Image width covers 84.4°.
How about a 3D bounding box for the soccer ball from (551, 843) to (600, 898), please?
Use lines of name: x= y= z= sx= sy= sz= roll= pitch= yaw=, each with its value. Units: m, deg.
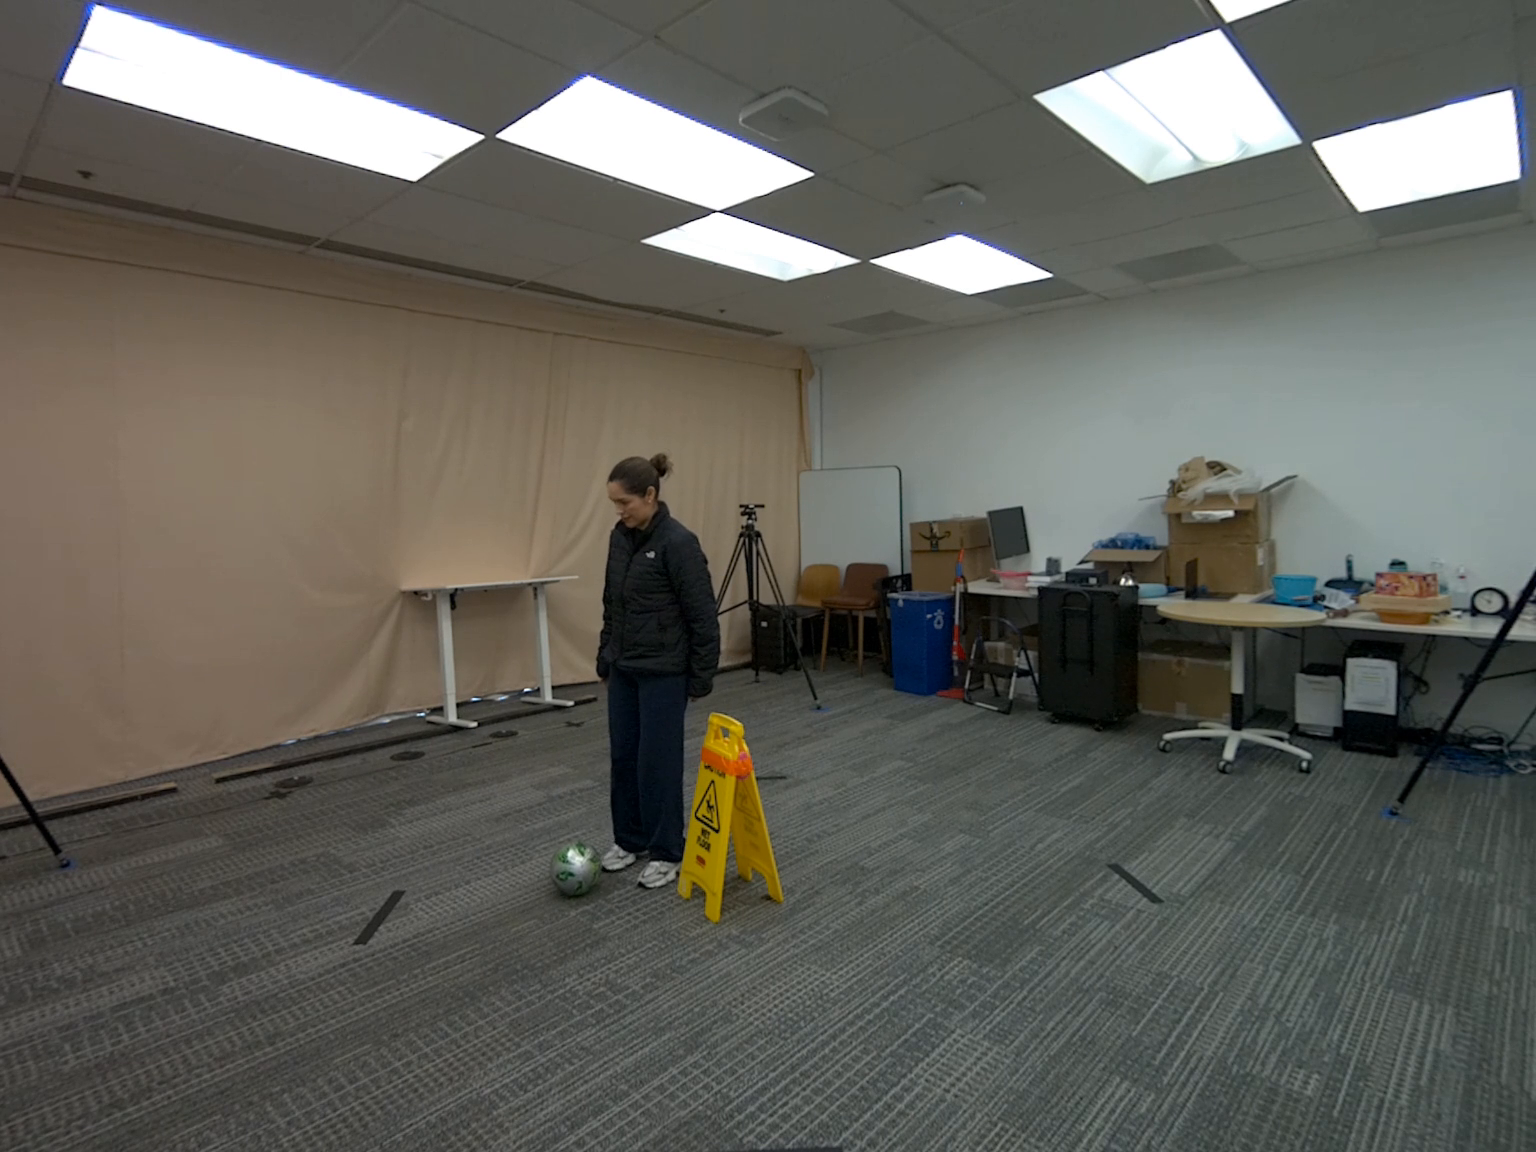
soccer ball: x=-0.695 y=1.061 z=3.053 sx=0.187 sy=0.187 sz=0.188 roll=-1 pitch=4 yaw=-2
